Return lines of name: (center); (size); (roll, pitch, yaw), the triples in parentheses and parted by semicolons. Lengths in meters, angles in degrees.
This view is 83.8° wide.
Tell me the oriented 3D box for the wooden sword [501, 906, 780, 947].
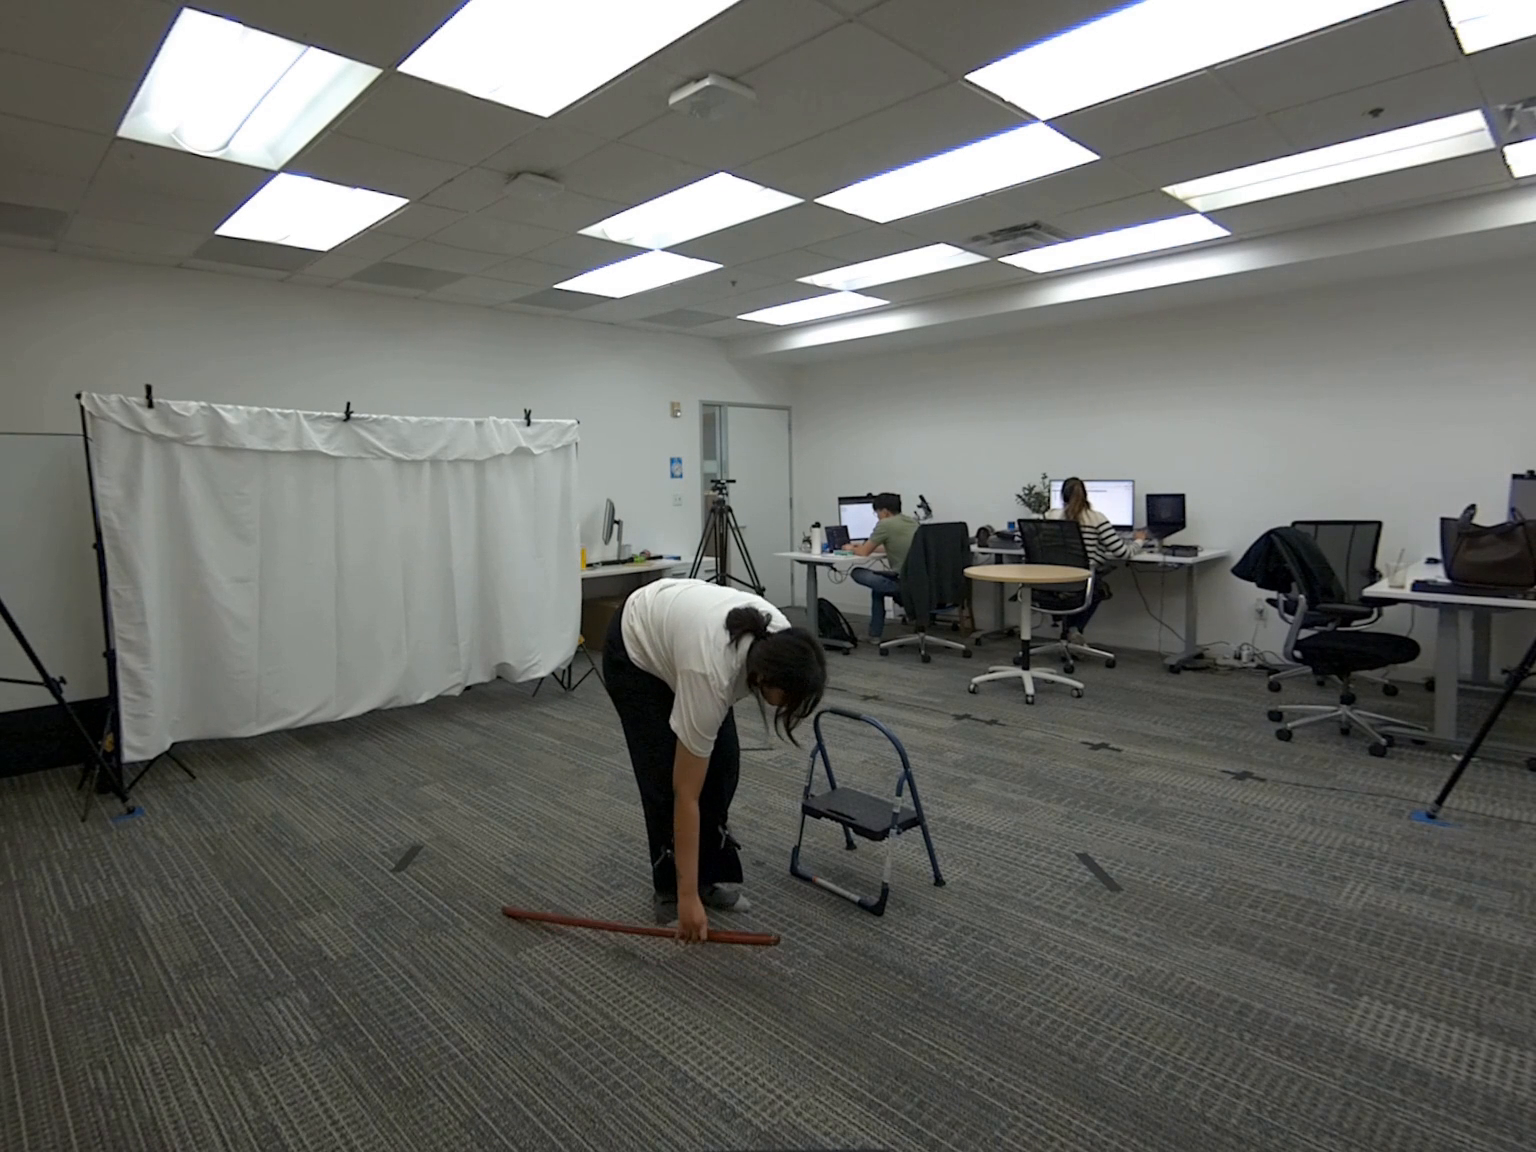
wooden sword: (-0.418, 1.046, 2.529); (1.048, 0.024, 0.049); (-6, -14, 31)
